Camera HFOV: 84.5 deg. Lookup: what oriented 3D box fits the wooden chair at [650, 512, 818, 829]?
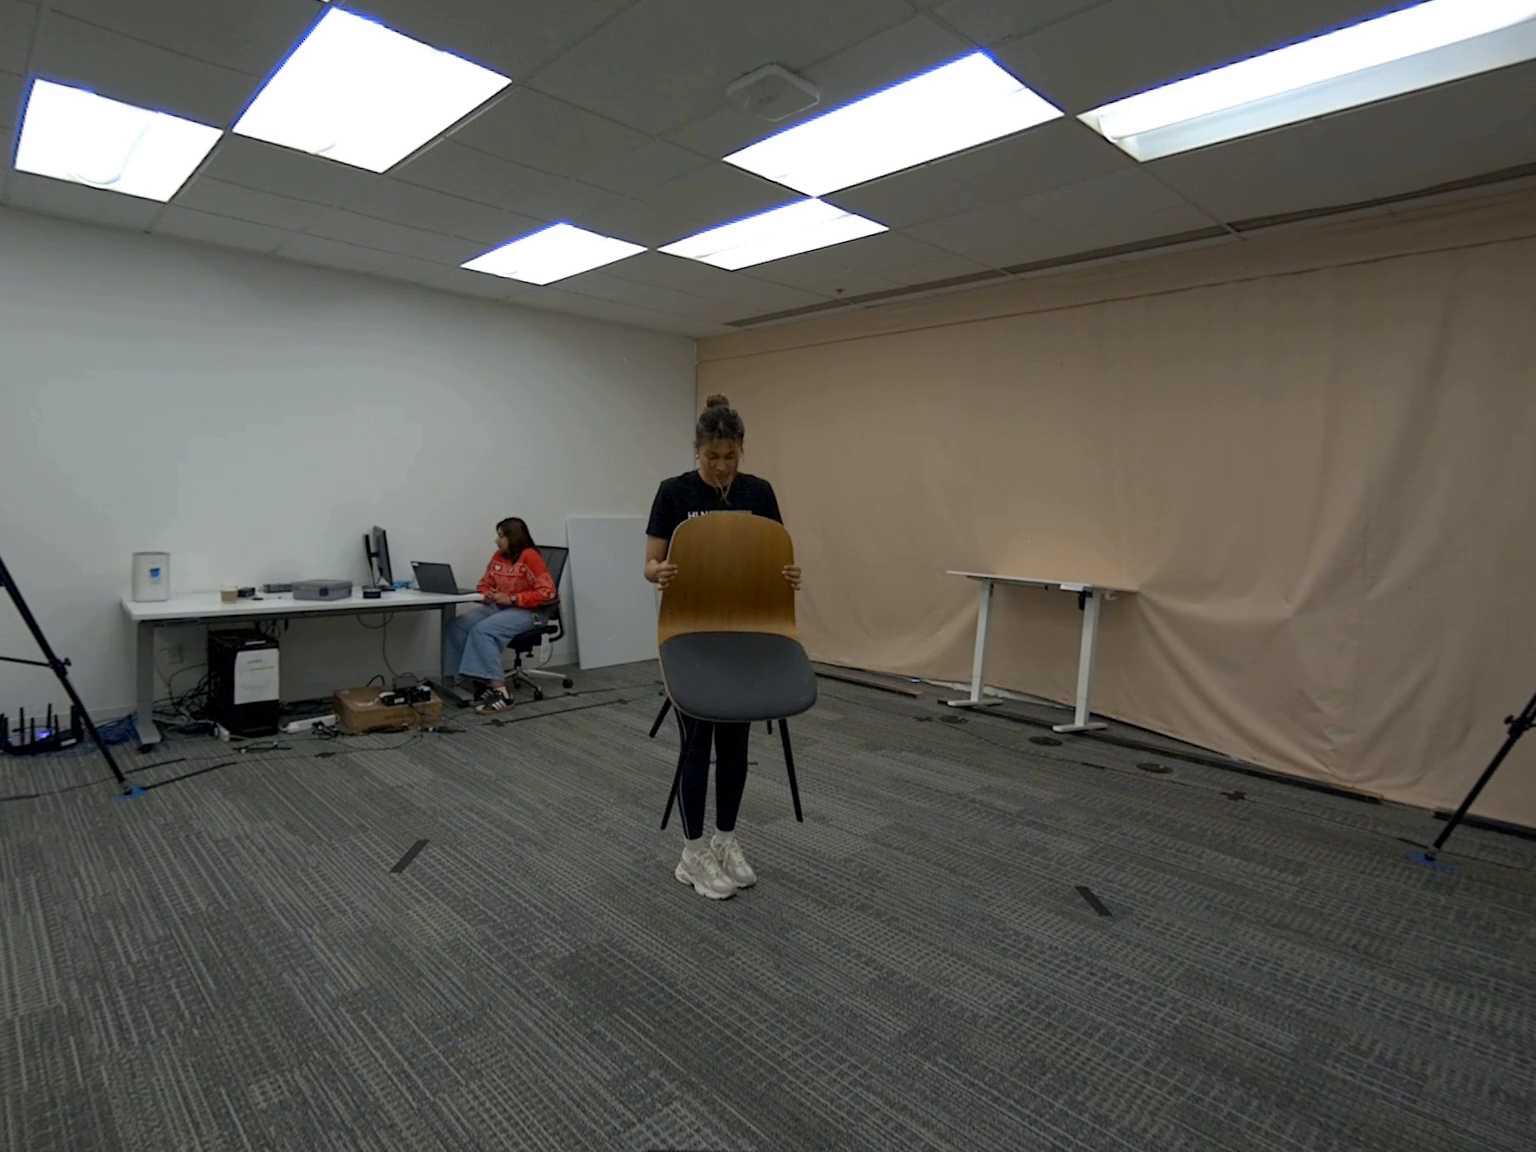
[{"bbox_3d":[-0.106,0.309,2.631,0.473,0.866,0.535,2,22,-13],"label":"wooden chair"}]
